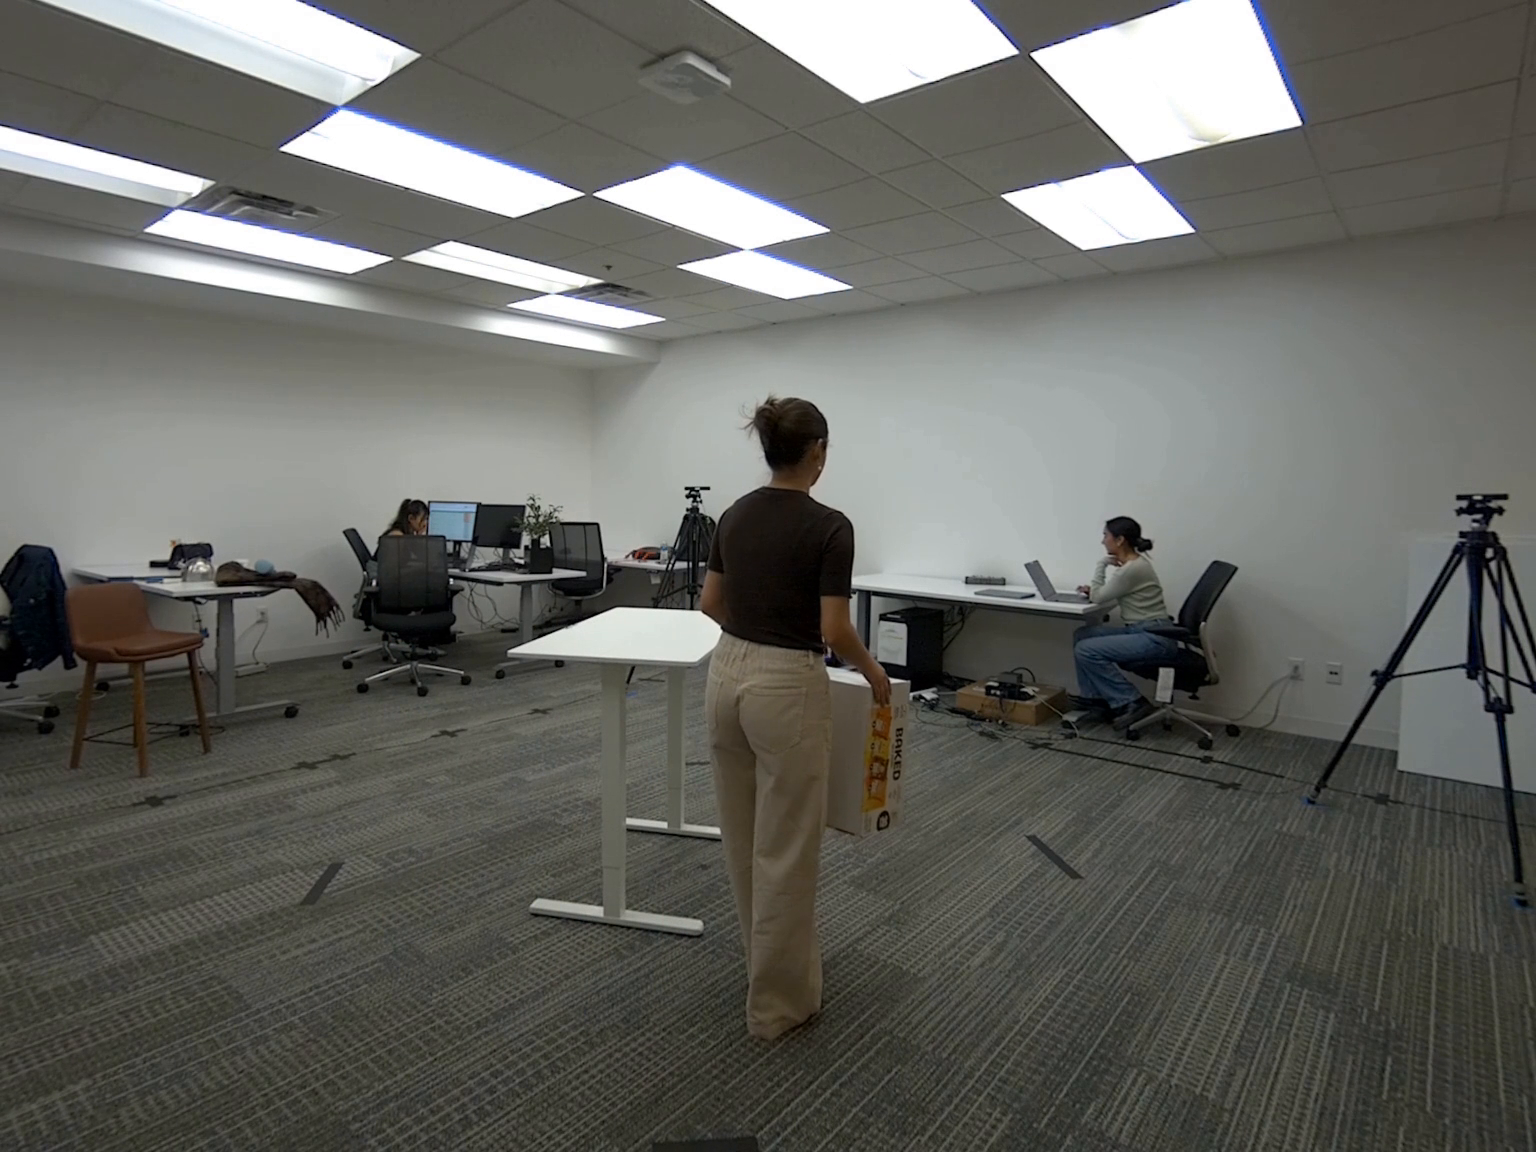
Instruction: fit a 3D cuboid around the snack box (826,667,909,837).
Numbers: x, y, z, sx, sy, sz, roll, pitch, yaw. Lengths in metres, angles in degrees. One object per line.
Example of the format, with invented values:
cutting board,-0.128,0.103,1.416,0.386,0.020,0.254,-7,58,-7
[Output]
snack box,0.190,0.485,2.447,0.352,0.405,0.199,4,0,40
